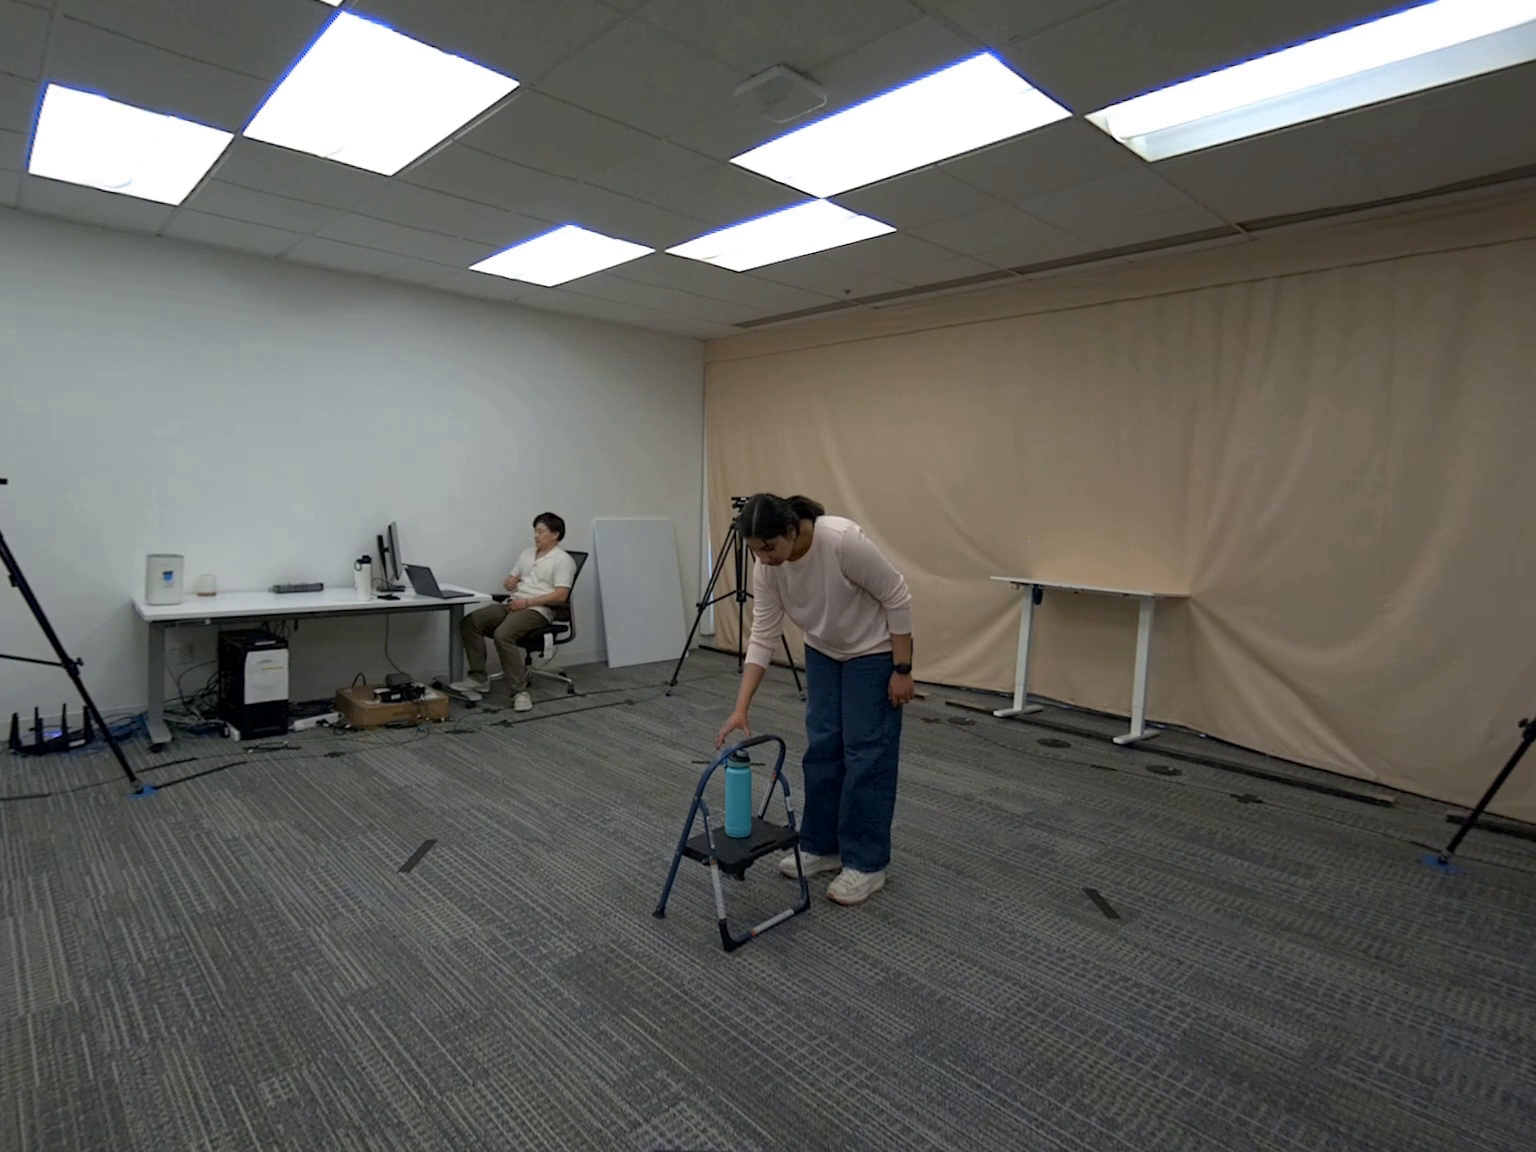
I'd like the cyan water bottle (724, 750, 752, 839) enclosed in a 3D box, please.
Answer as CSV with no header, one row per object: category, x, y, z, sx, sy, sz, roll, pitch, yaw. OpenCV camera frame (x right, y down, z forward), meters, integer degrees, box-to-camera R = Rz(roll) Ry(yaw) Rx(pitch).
cyan water bottle,-0.106,0.733,2.841,0.092,0.283,0.092,-1,0,-1
